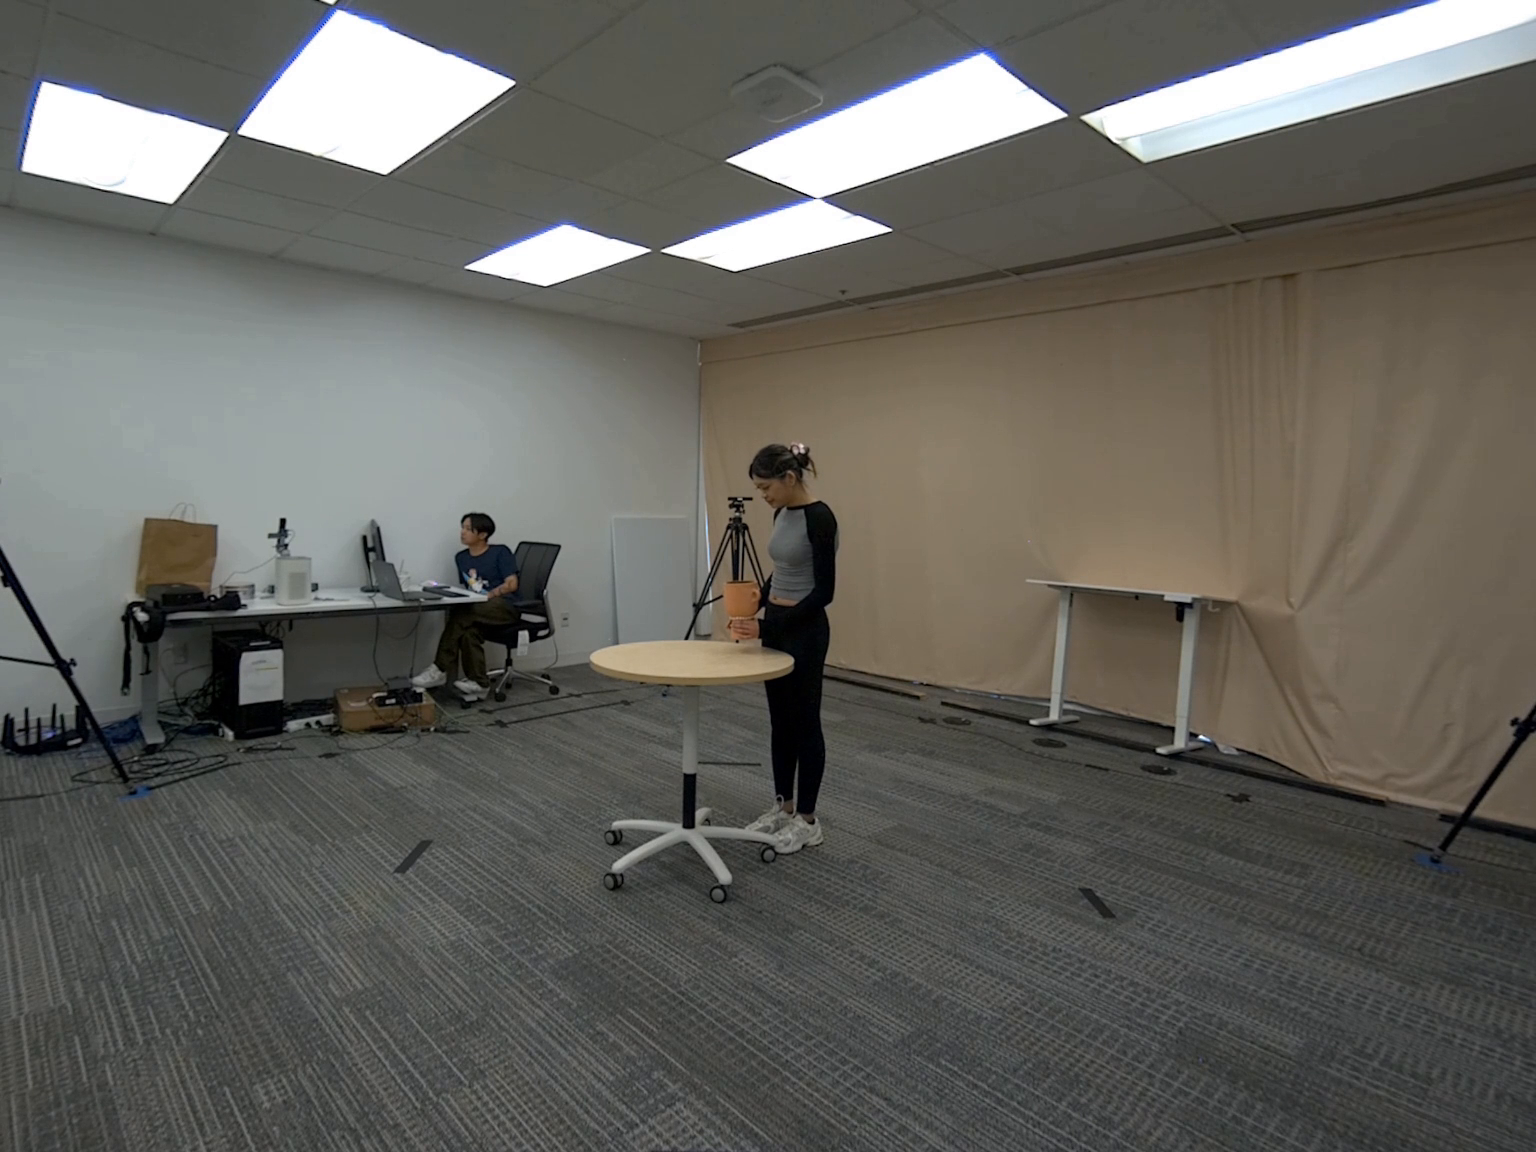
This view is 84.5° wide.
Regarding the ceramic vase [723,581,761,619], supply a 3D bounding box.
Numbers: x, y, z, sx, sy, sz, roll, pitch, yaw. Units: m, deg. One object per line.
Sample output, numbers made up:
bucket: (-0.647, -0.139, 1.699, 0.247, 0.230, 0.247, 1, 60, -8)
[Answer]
ceramic vase: (-0.104, 0.133, 3.283, 0.134, 0.219, 0.160, -5, 3, -8)
